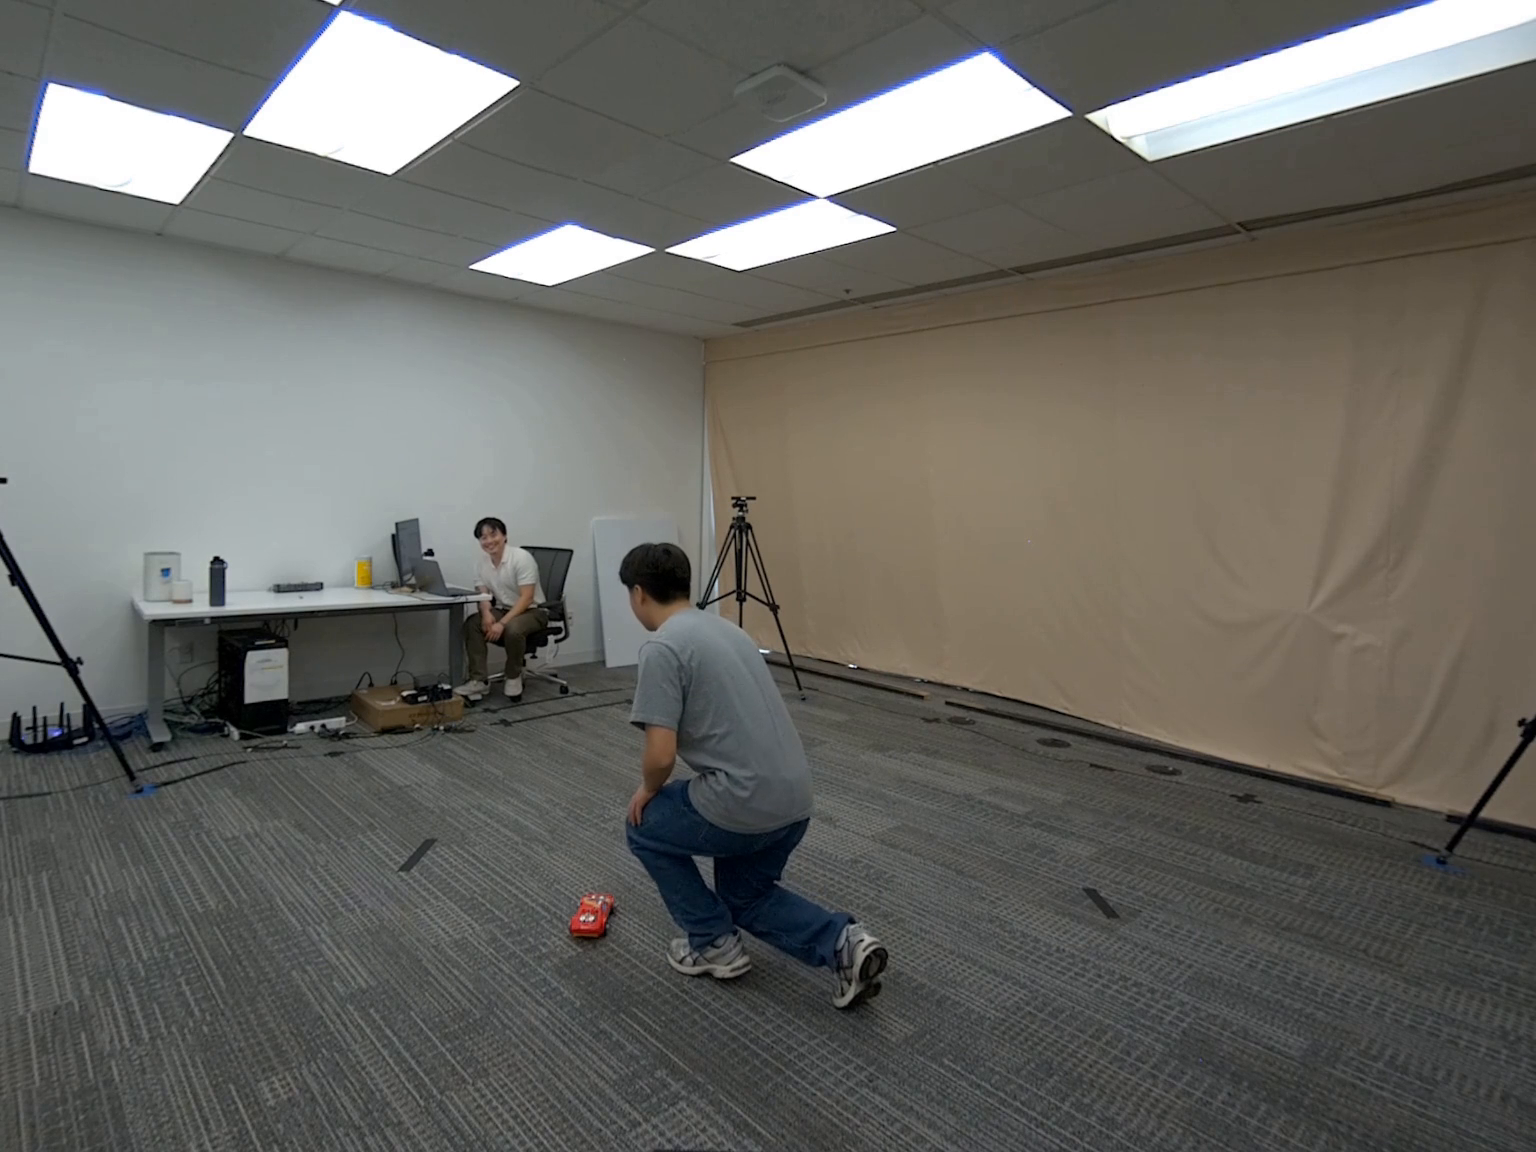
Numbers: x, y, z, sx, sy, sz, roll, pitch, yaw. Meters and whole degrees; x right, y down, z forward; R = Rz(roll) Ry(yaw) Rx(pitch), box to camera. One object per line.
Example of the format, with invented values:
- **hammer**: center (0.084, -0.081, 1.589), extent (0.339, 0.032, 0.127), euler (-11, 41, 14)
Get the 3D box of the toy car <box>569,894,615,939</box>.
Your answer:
- **toy car**: center (-0.575, 1.099, 2.710), extent (0.130, 0.083, 0.253), euler (3, -6, 1)
